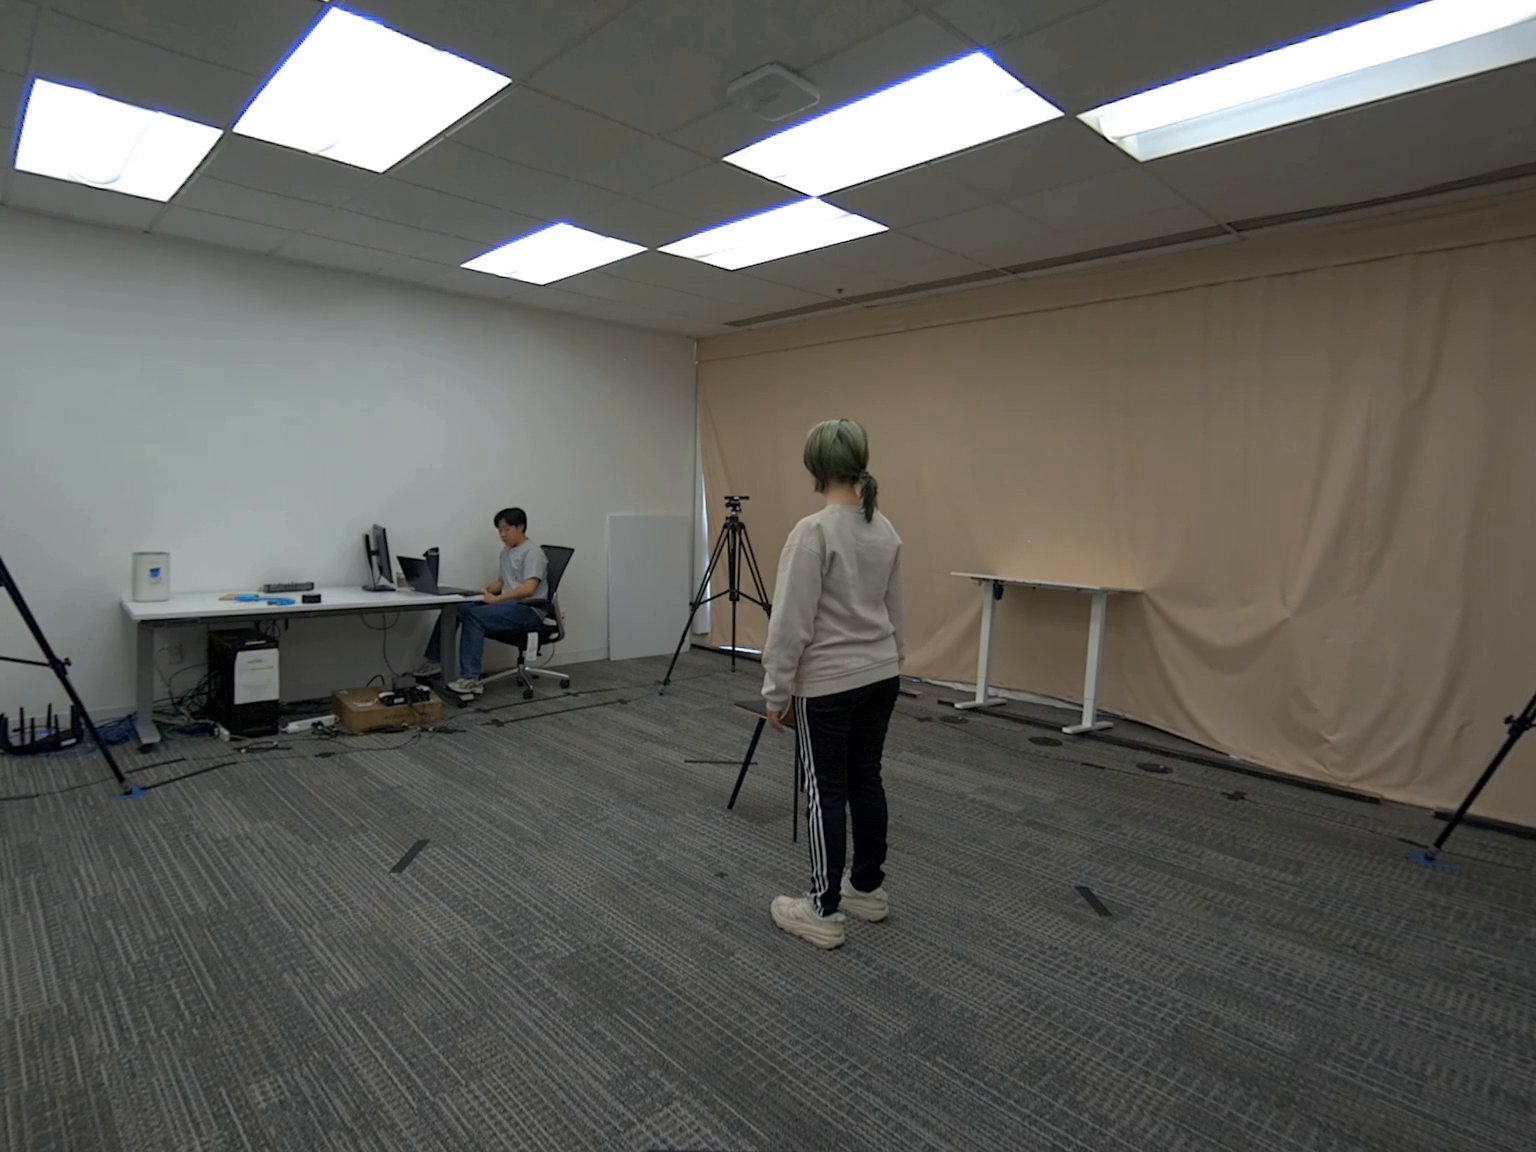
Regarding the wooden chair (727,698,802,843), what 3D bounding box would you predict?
[{"bbox_3d":[0.140,0.635,3.708,0.467,0.873,0.537,-1,8,-39],"label":"wooden chair"}]
